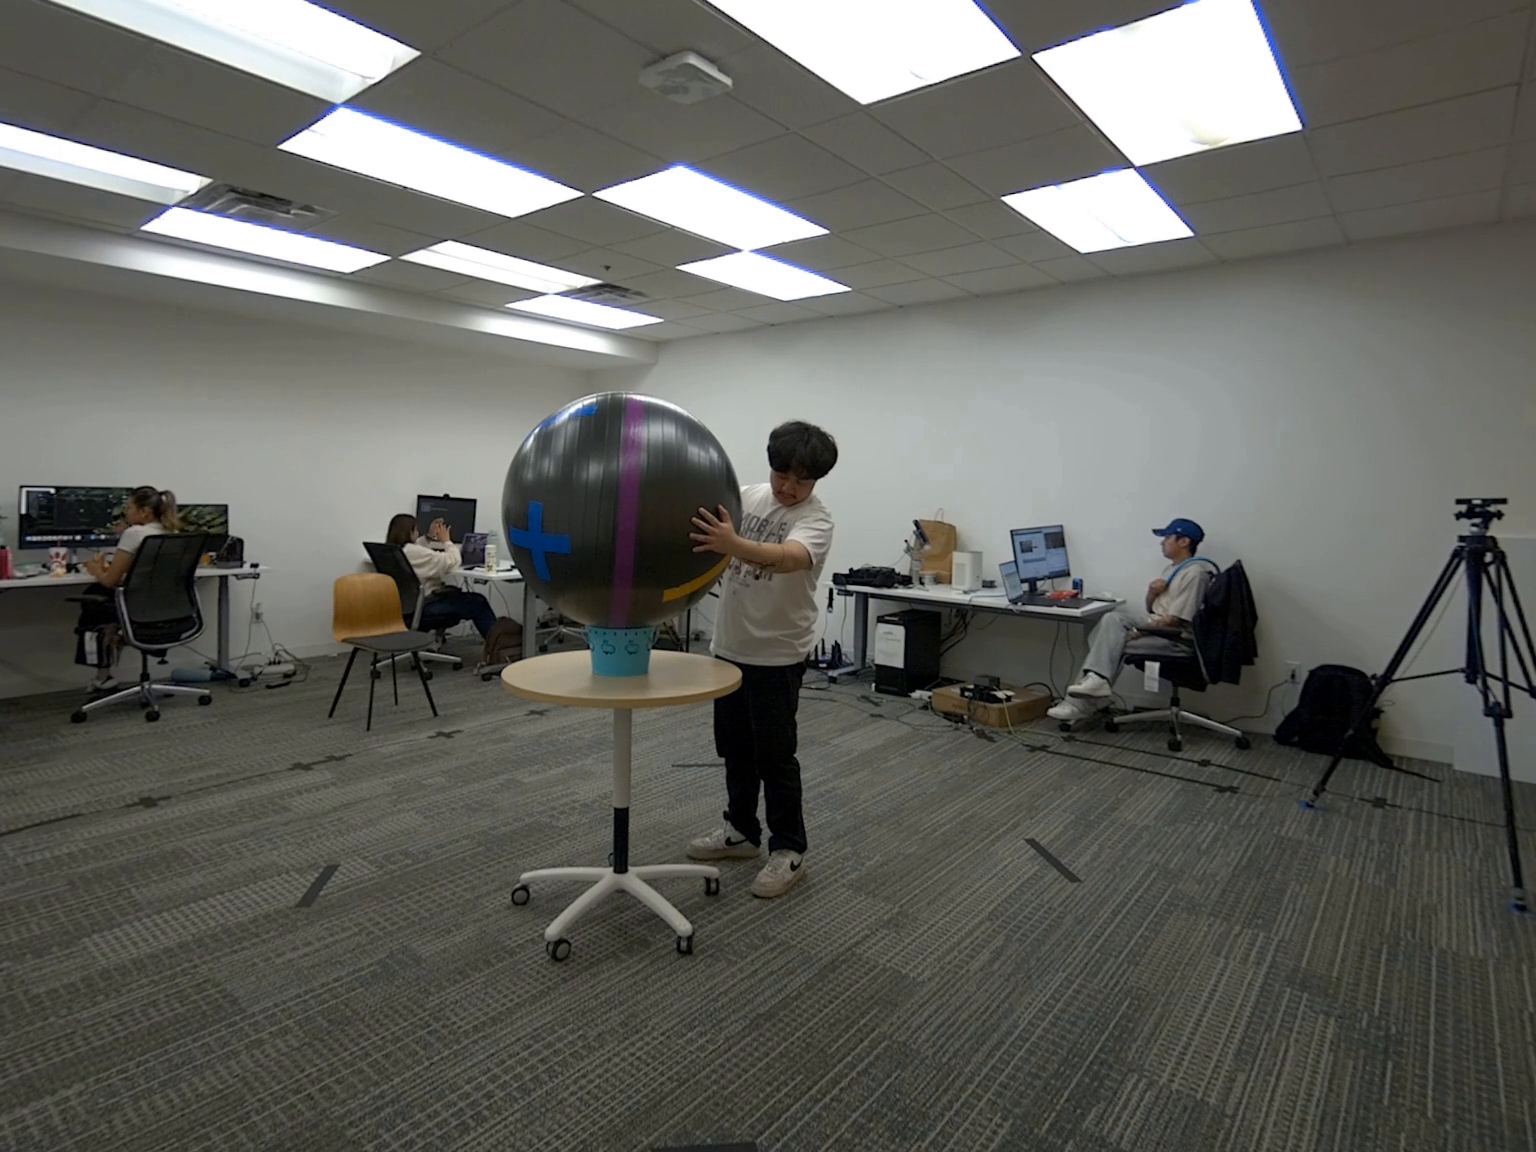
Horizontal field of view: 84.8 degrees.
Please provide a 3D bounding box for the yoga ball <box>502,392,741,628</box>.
[{"bbox_3d":[-0.475,-0.208,2.726,0.757,0.756,0.761,1,4,-2],"label":"yoga ball"}]
